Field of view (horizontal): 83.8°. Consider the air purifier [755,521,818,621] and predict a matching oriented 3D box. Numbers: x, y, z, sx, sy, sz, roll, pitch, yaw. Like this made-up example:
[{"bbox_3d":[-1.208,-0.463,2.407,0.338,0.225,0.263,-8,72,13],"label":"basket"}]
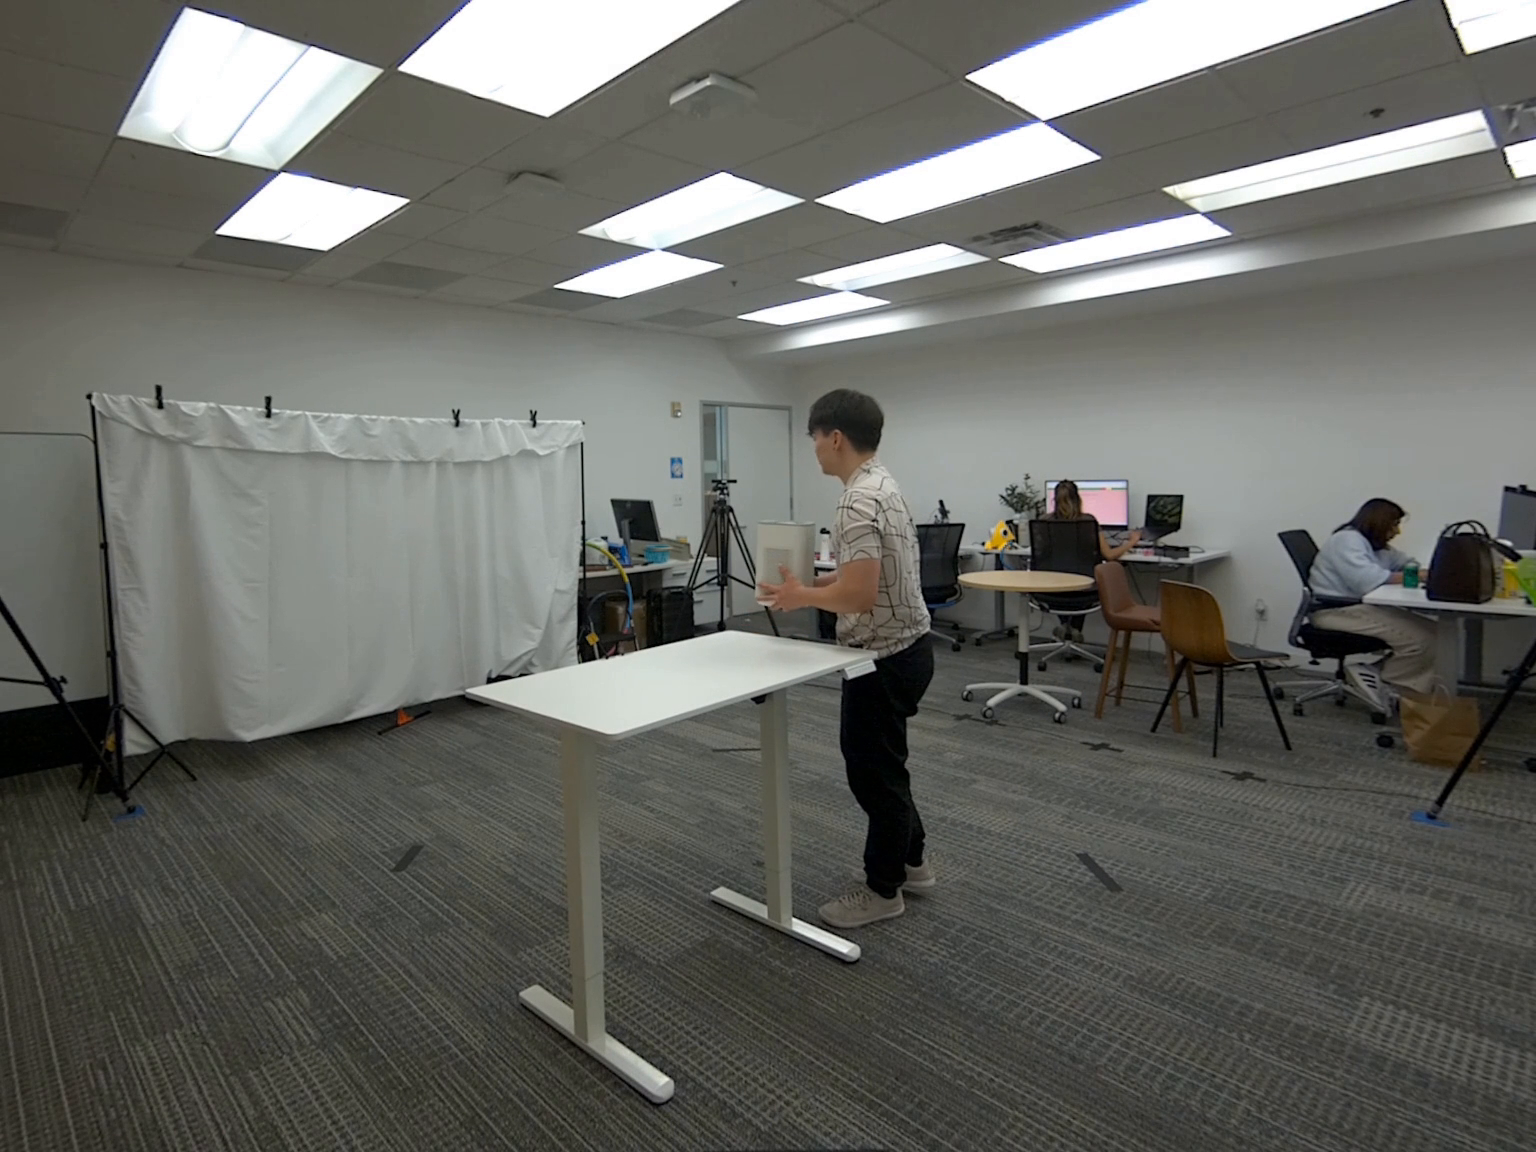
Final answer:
[{"bbox_3d":[0.059,-0.038,2.720,0.175,0.264,0.169,5,6,17],"label":"air purifier"}]
